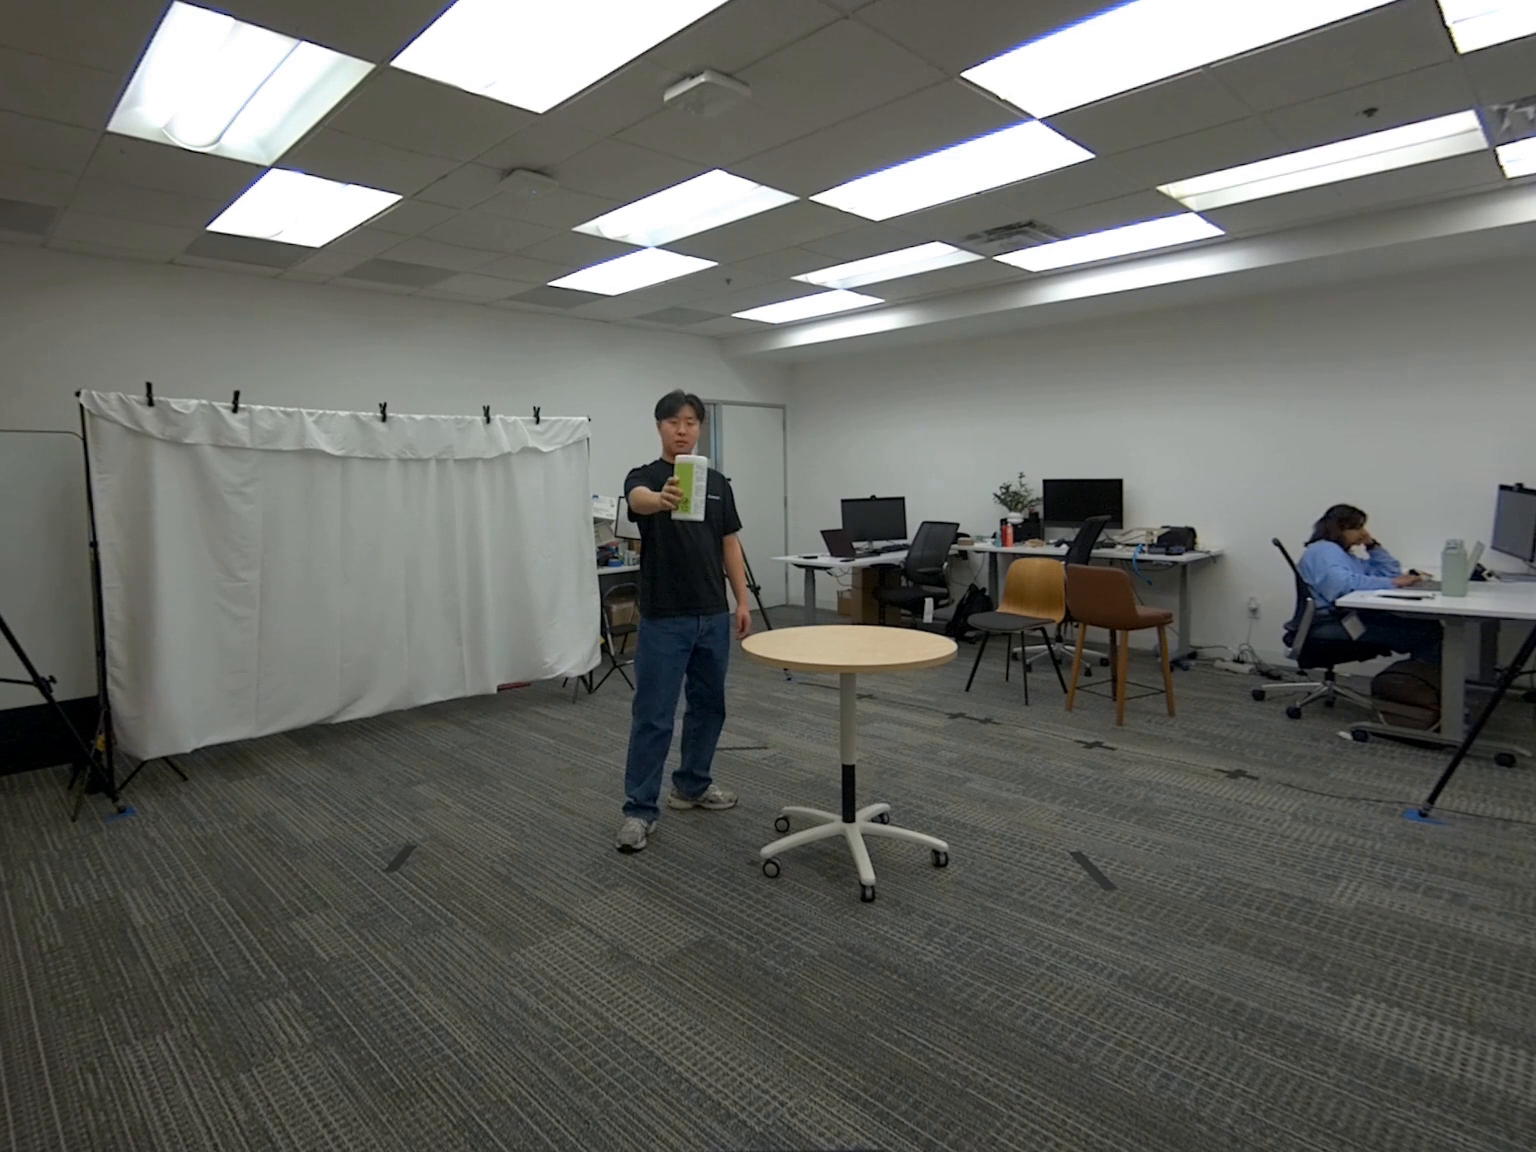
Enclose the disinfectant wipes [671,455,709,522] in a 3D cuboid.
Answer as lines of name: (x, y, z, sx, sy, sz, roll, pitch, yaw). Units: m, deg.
disinfectant wipes: (-0.258, -0.293, 2.861, 0.117, 0.217, 0.118, 5, 3, -2)
